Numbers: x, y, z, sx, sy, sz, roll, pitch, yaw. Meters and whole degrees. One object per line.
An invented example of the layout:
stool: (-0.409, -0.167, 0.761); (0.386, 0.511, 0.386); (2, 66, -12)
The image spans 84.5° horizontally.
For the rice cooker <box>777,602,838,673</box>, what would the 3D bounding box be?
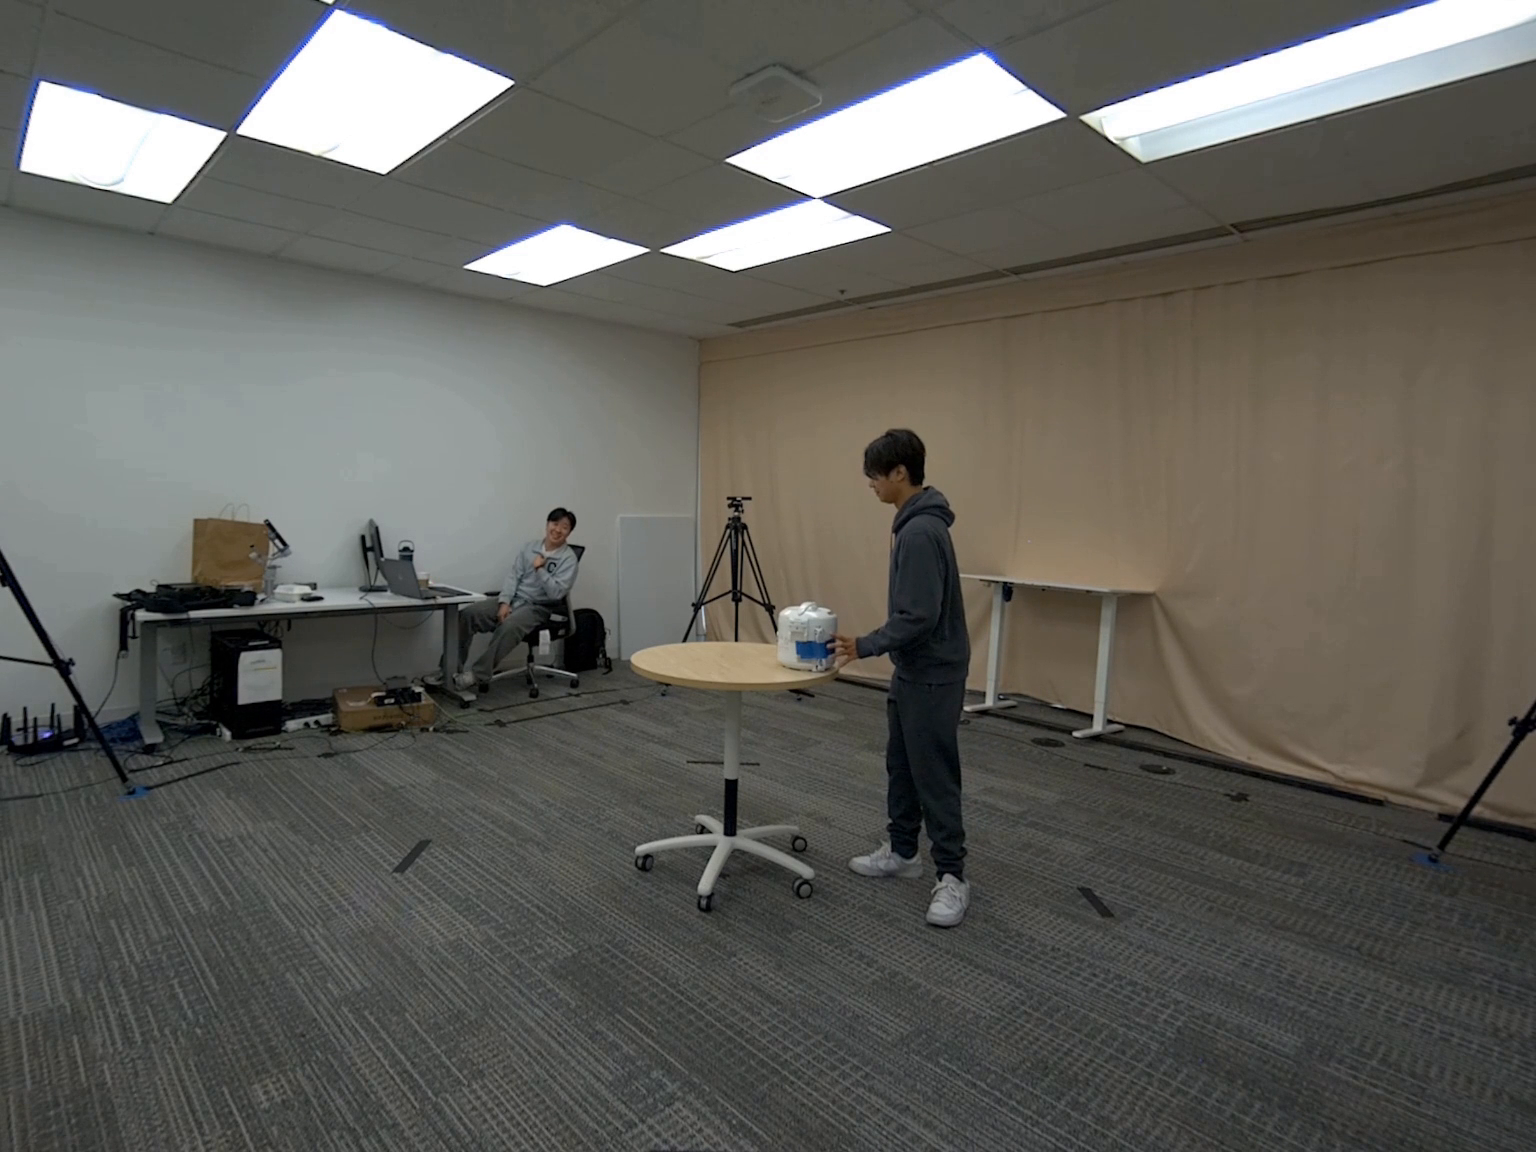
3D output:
rice cooker: (0.137, 0.208, 3.014); (0.221, 0.232, 0.217); (4, 5, 24)
